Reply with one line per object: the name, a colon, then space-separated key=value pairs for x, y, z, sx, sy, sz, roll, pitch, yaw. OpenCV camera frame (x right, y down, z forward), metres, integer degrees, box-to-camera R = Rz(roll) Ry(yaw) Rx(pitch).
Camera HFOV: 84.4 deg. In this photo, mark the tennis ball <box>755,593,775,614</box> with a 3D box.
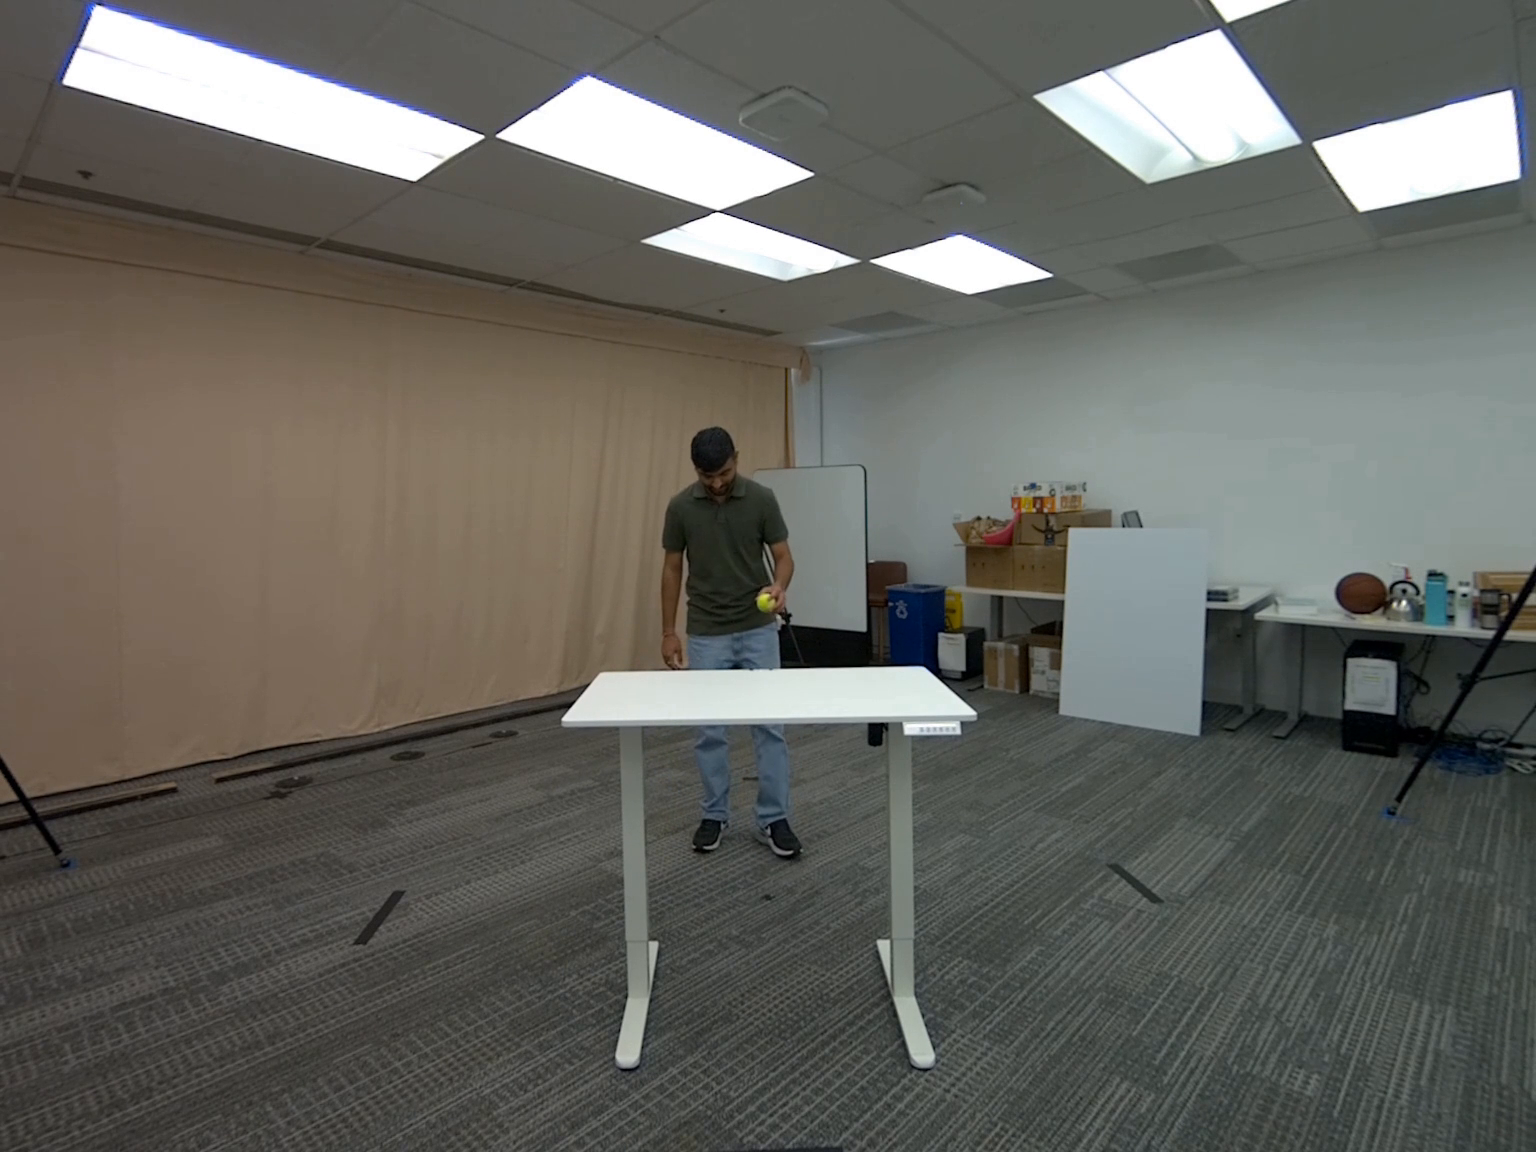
tennis ball: x=0.017 y=0.114 z=3.110 sx=0.066 sy=0.066 sz=0.067 roll=-1 pitch=4 yaw=-2
